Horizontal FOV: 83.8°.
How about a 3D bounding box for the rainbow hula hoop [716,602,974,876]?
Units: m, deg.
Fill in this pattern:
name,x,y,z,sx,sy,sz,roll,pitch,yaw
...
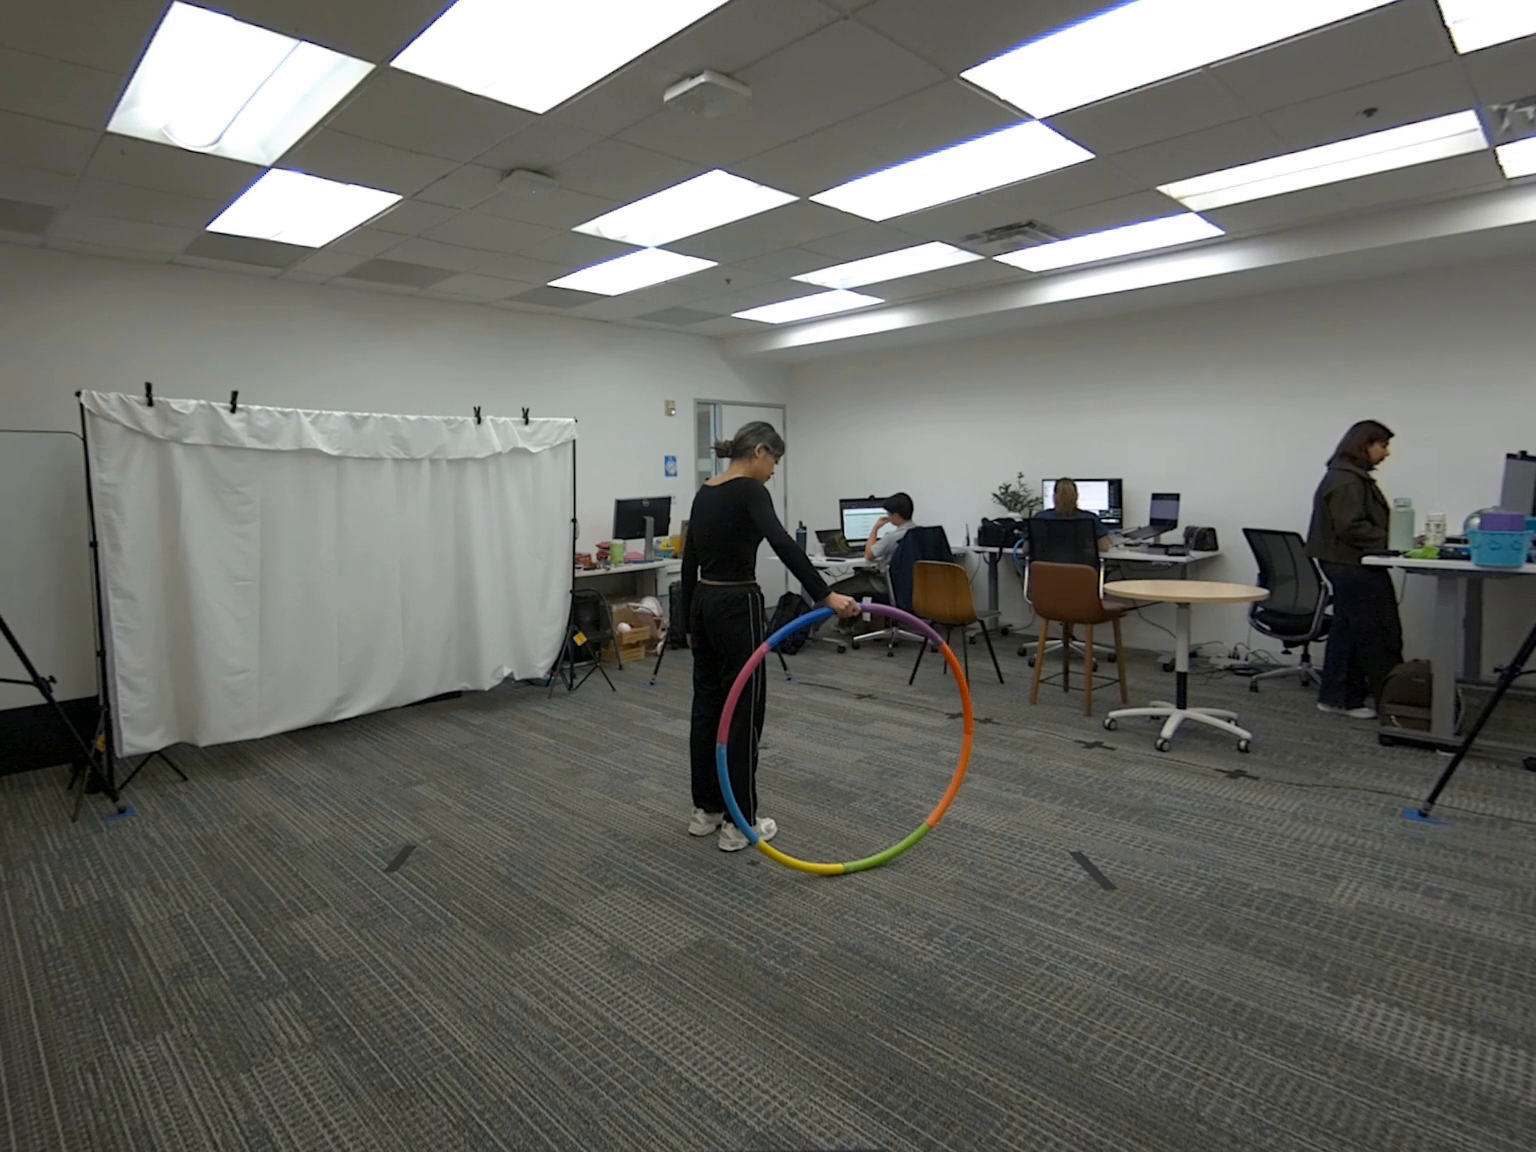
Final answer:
name,x,y,z,sx,sy,sz,roll,pitch,yaw
rainbow hula hoop,0.289,0.571,3.002,0.961,0.976,0.036,-3,3,-20
